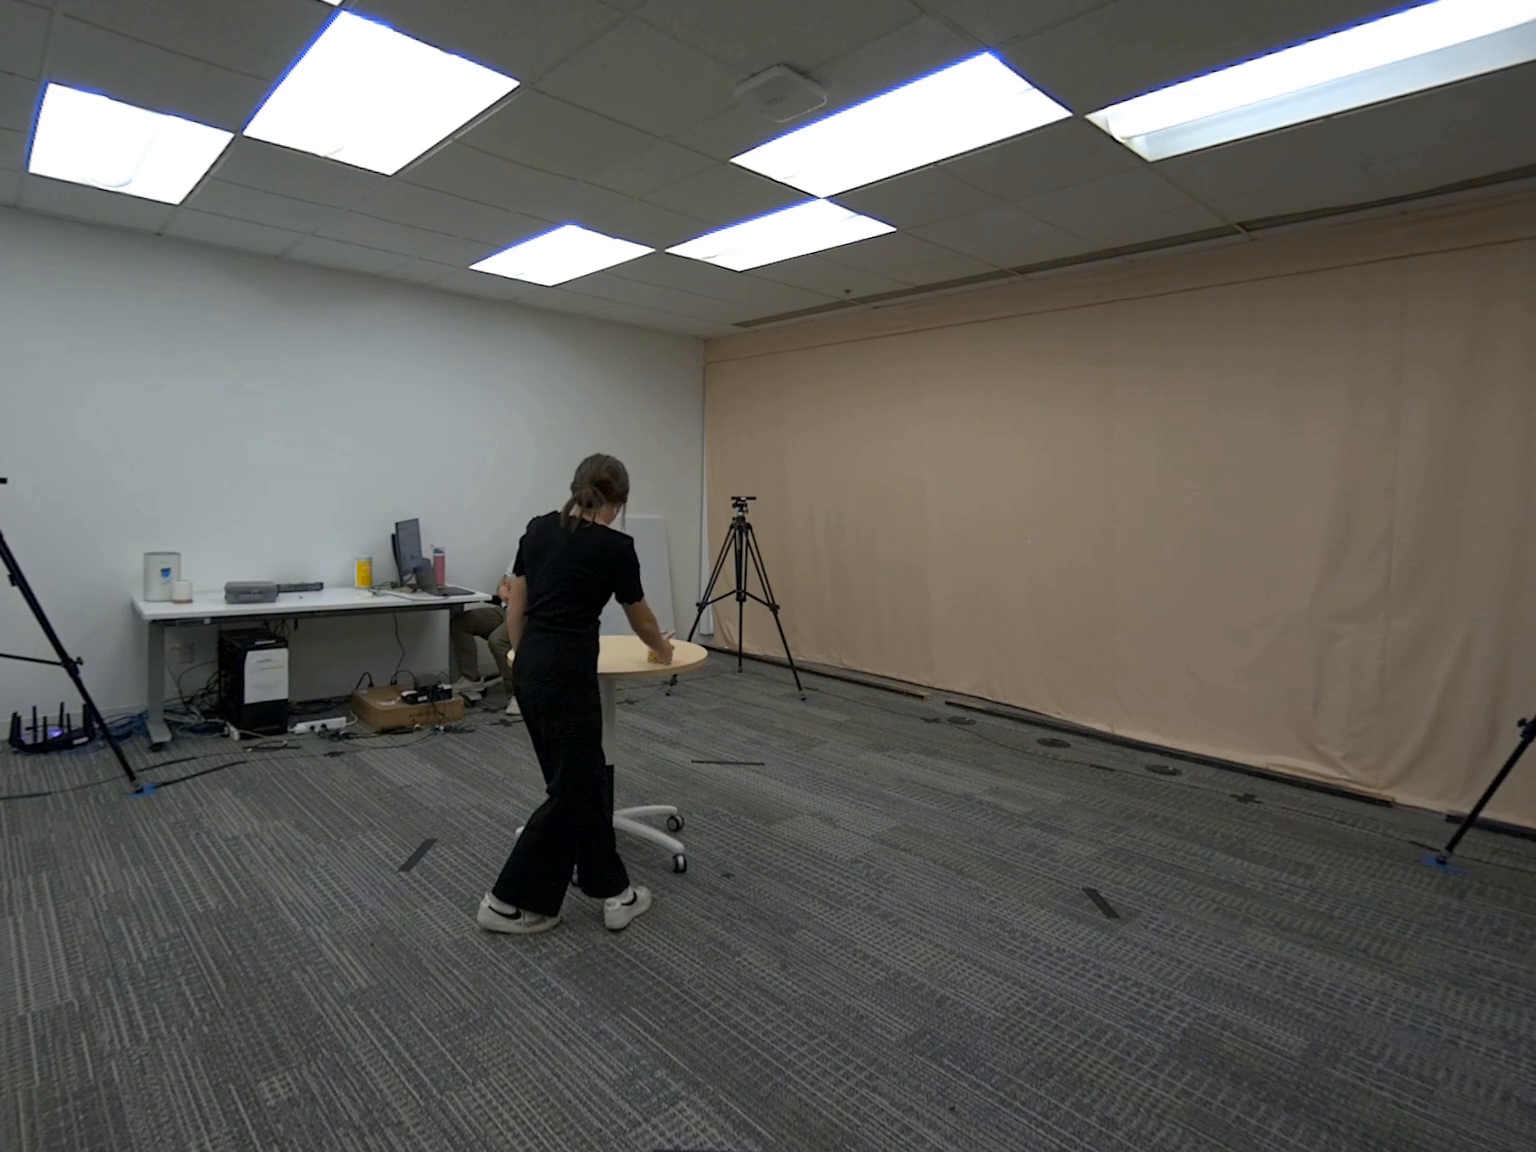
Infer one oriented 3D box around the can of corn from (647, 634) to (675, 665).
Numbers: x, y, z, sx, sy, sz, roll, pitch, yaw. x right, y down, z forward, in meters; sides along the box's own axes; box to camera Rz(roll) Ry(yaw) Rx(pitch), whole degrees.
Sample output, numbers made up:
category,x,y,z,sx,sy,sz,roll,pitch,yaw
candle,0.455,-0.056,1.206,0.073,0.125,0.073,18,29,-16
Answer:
category,x,y,z,sx,sy,sz,roll,pitch,yaw
can of corn,-0.412,0.262,3.089,0.074,0.111,0.074,2,4,-2
